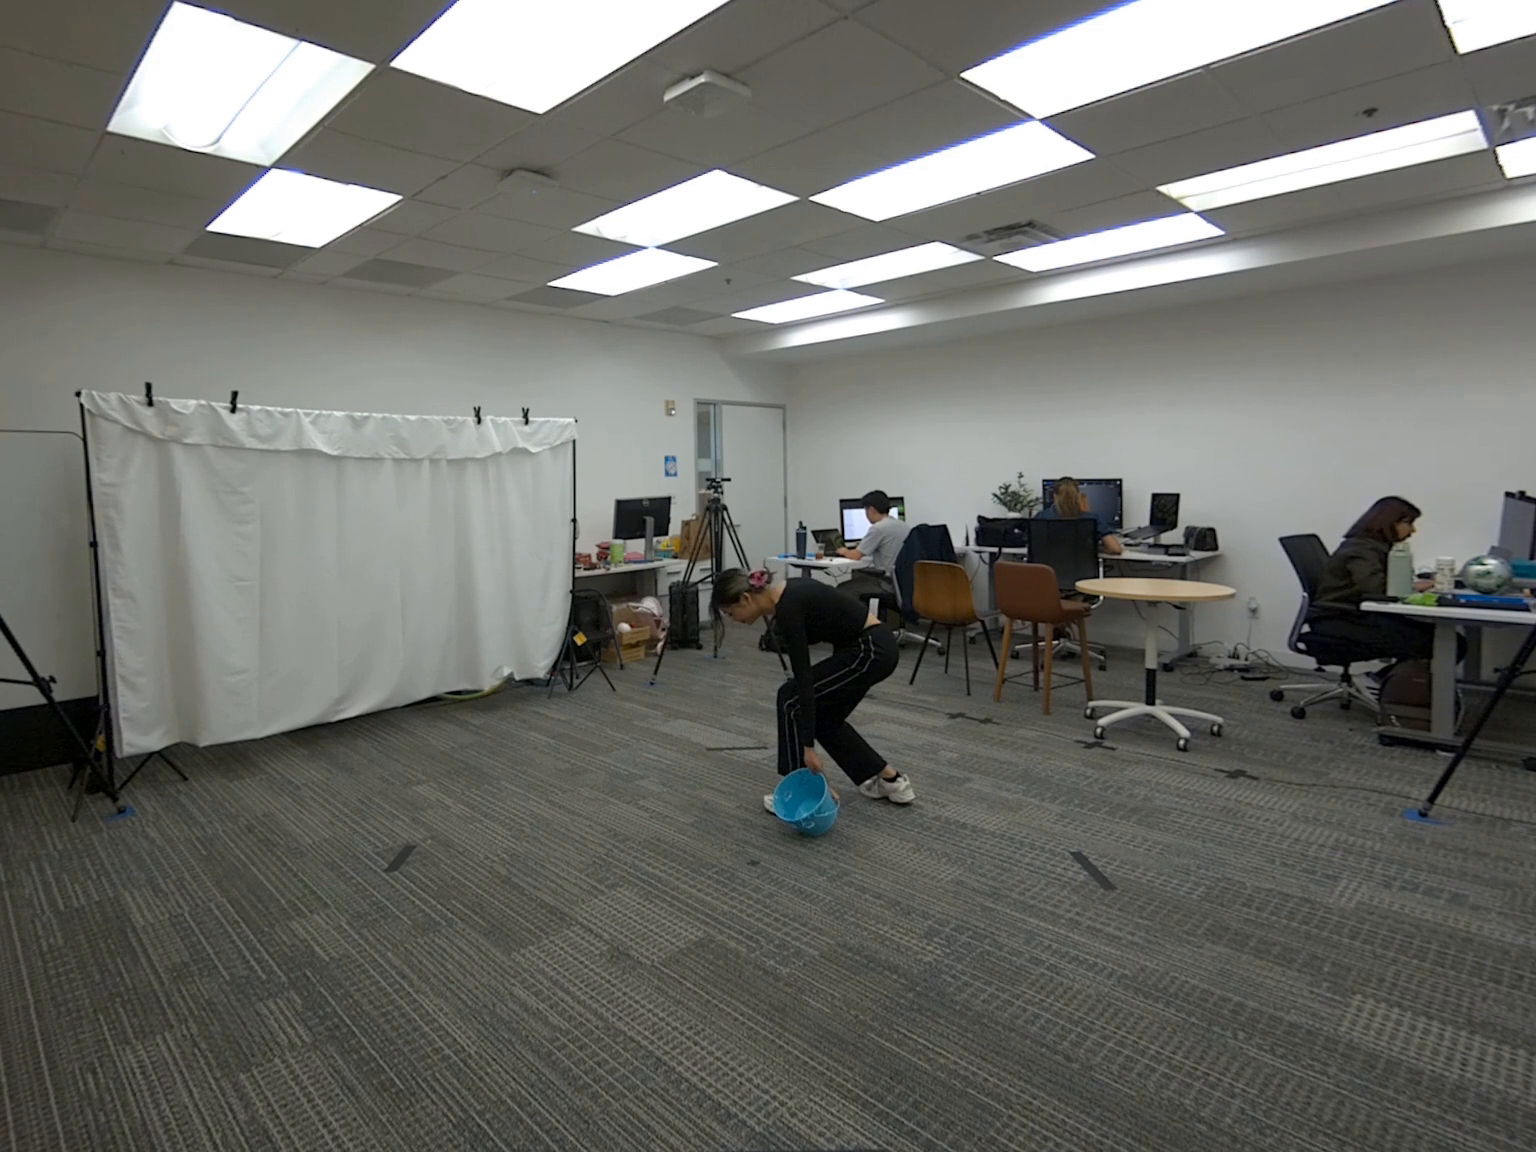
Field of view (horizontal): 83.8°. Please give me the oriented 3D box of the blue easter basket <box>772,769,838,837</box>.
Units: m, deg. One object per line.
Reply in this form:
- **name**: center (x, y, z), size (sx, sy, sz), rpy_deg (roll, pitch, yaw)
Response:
- **blue easter basket**: center (0.152, 0.900, 3.344), size (0.245, 0.150, 0.250), rpy_deg (-27, 33, 18)
